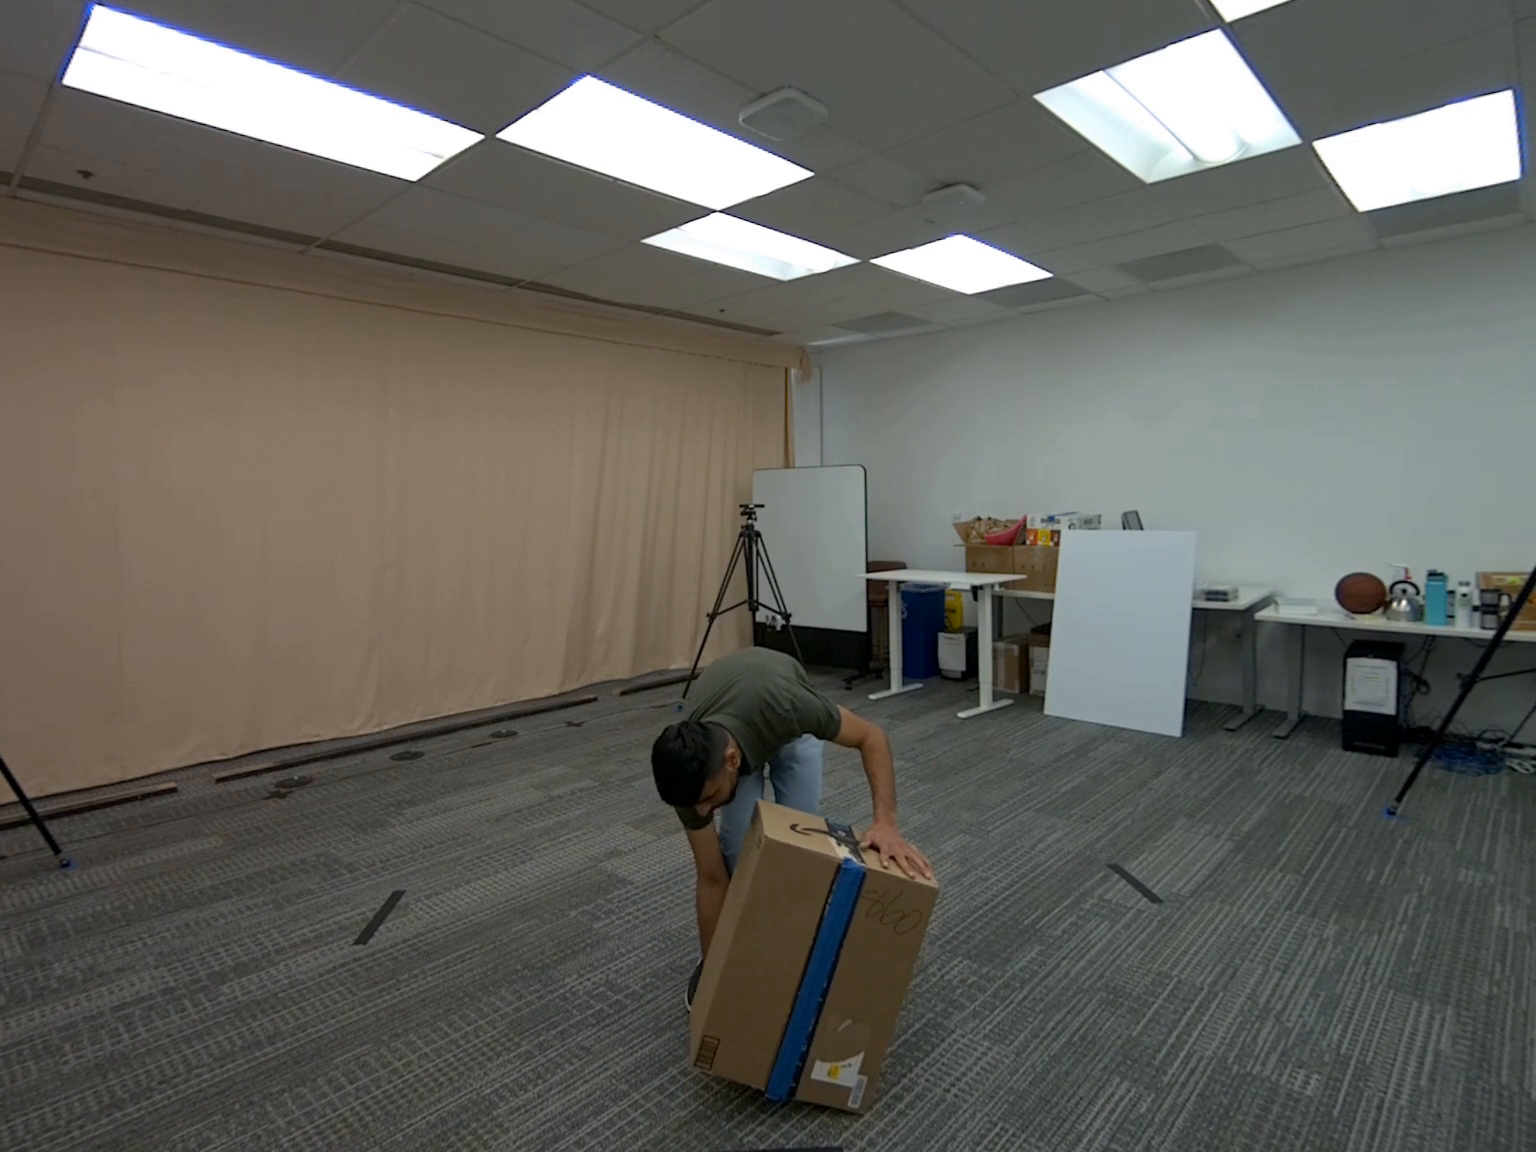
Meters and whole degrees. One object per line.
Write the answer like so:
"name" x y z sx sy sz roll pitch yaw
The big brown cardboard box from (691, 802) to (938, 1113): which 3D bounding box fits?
"big brown cardboard box" 0.096 0.876 1.979 0.415 0.588 0.235 16 4 -5
